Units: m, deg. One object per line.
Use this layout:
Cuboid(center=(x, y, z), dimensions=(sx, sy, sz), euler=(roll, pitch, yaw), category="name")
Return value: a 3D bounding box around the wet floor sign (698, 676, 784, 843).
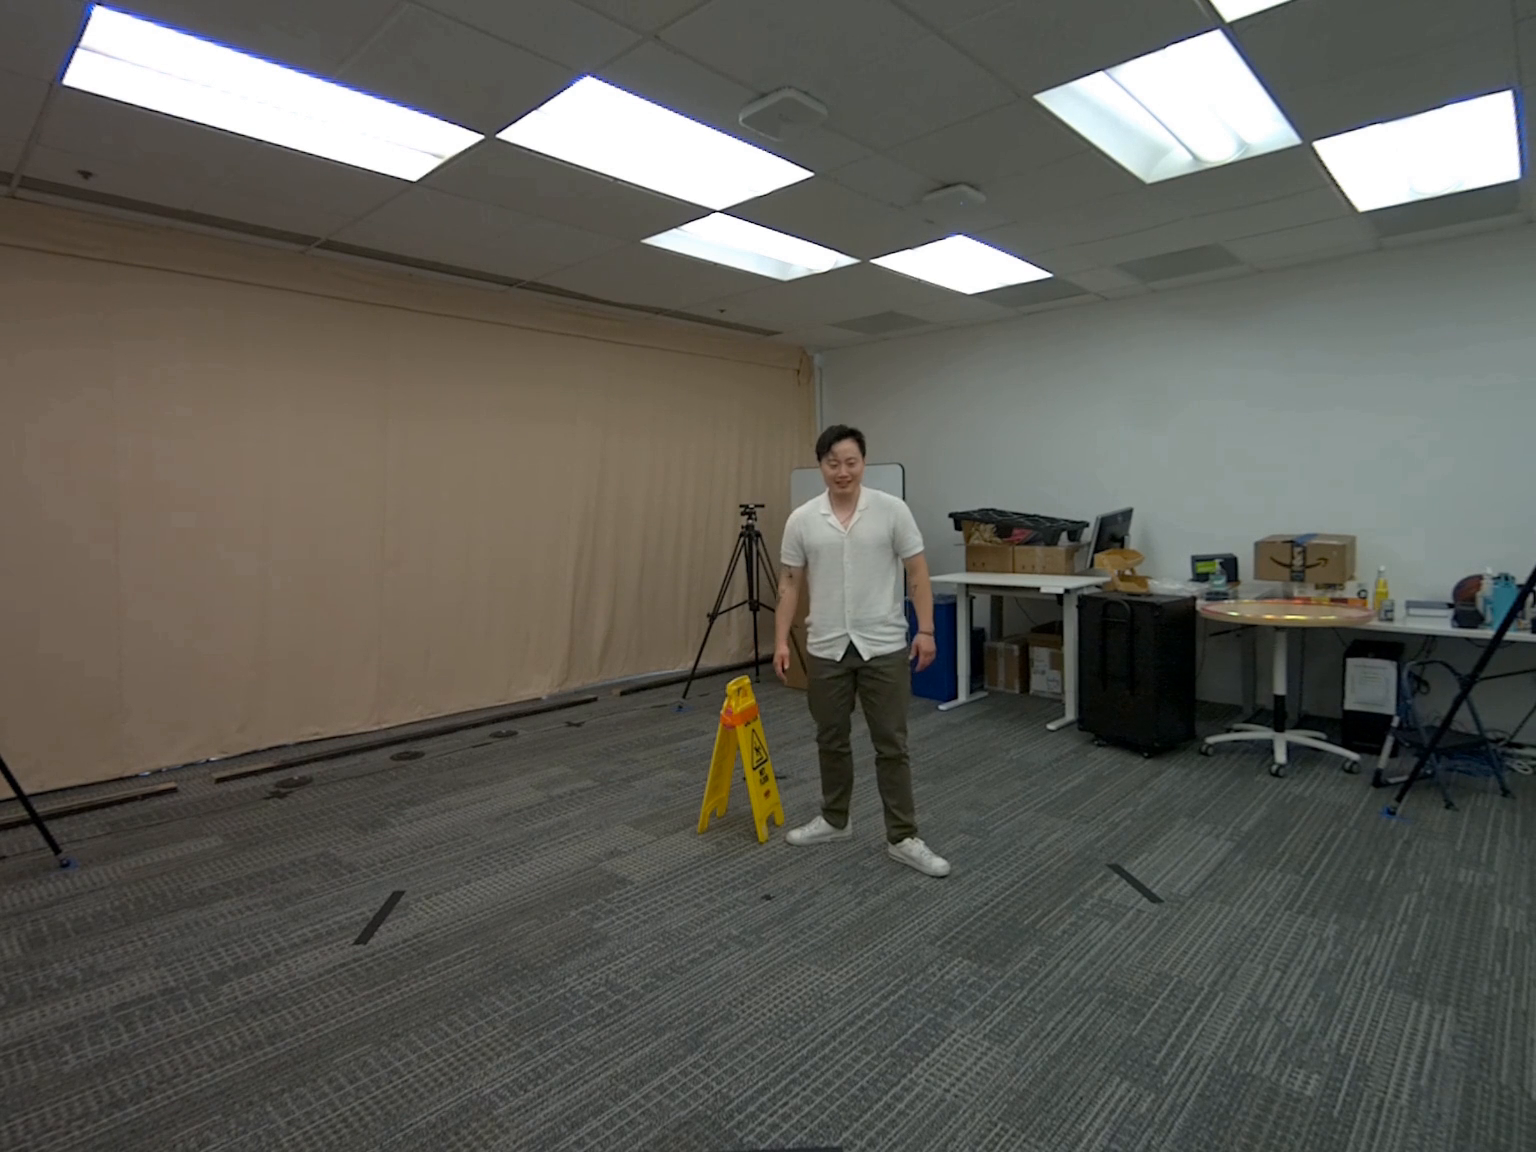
Cuboid(center=(-0.123, 0.765, 3.628), dimensions=(0.296, 0.645, 0.276), euler=(-1, 2, 22), category="wet floor sign")
